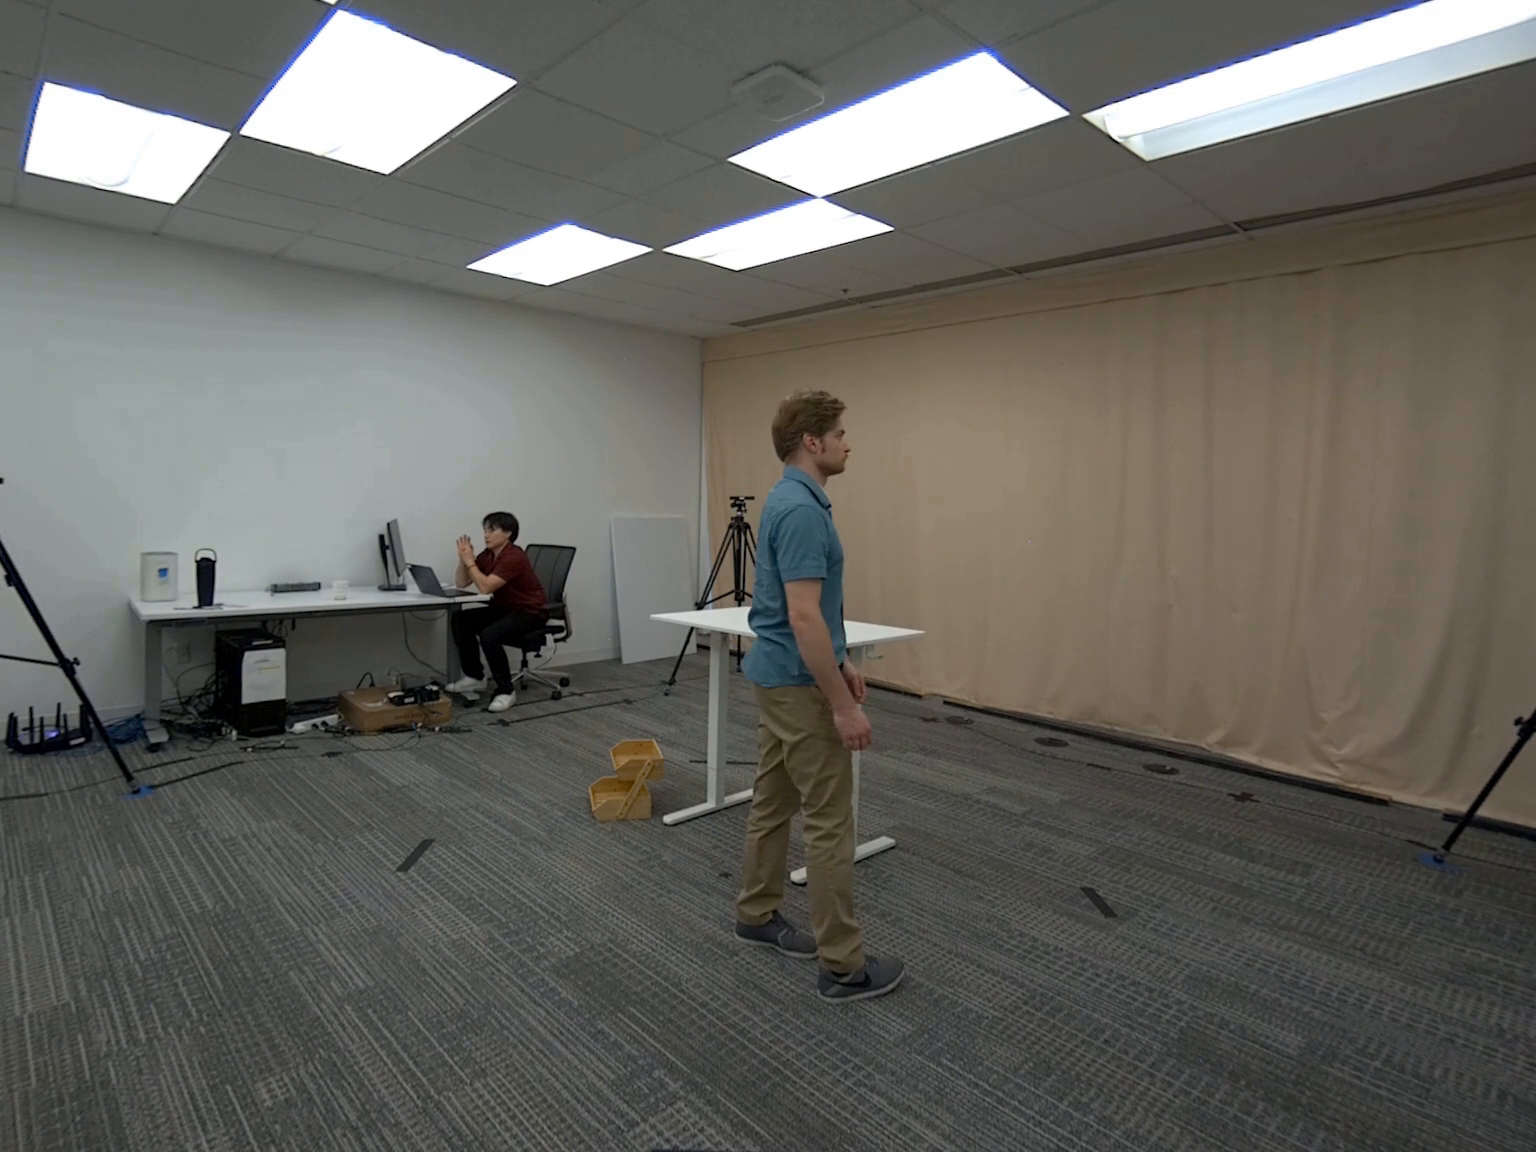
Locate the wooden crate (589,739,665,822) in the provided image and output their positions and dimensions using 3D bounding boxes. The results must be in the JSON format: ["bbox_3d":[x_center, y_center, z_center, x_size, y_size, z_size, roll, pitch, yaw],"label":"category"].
[{"bbox_3d":[-0.652,0.900,3.762,0.298,0.272,0.329,1,4,-16],"label":"wooden crate"}]
